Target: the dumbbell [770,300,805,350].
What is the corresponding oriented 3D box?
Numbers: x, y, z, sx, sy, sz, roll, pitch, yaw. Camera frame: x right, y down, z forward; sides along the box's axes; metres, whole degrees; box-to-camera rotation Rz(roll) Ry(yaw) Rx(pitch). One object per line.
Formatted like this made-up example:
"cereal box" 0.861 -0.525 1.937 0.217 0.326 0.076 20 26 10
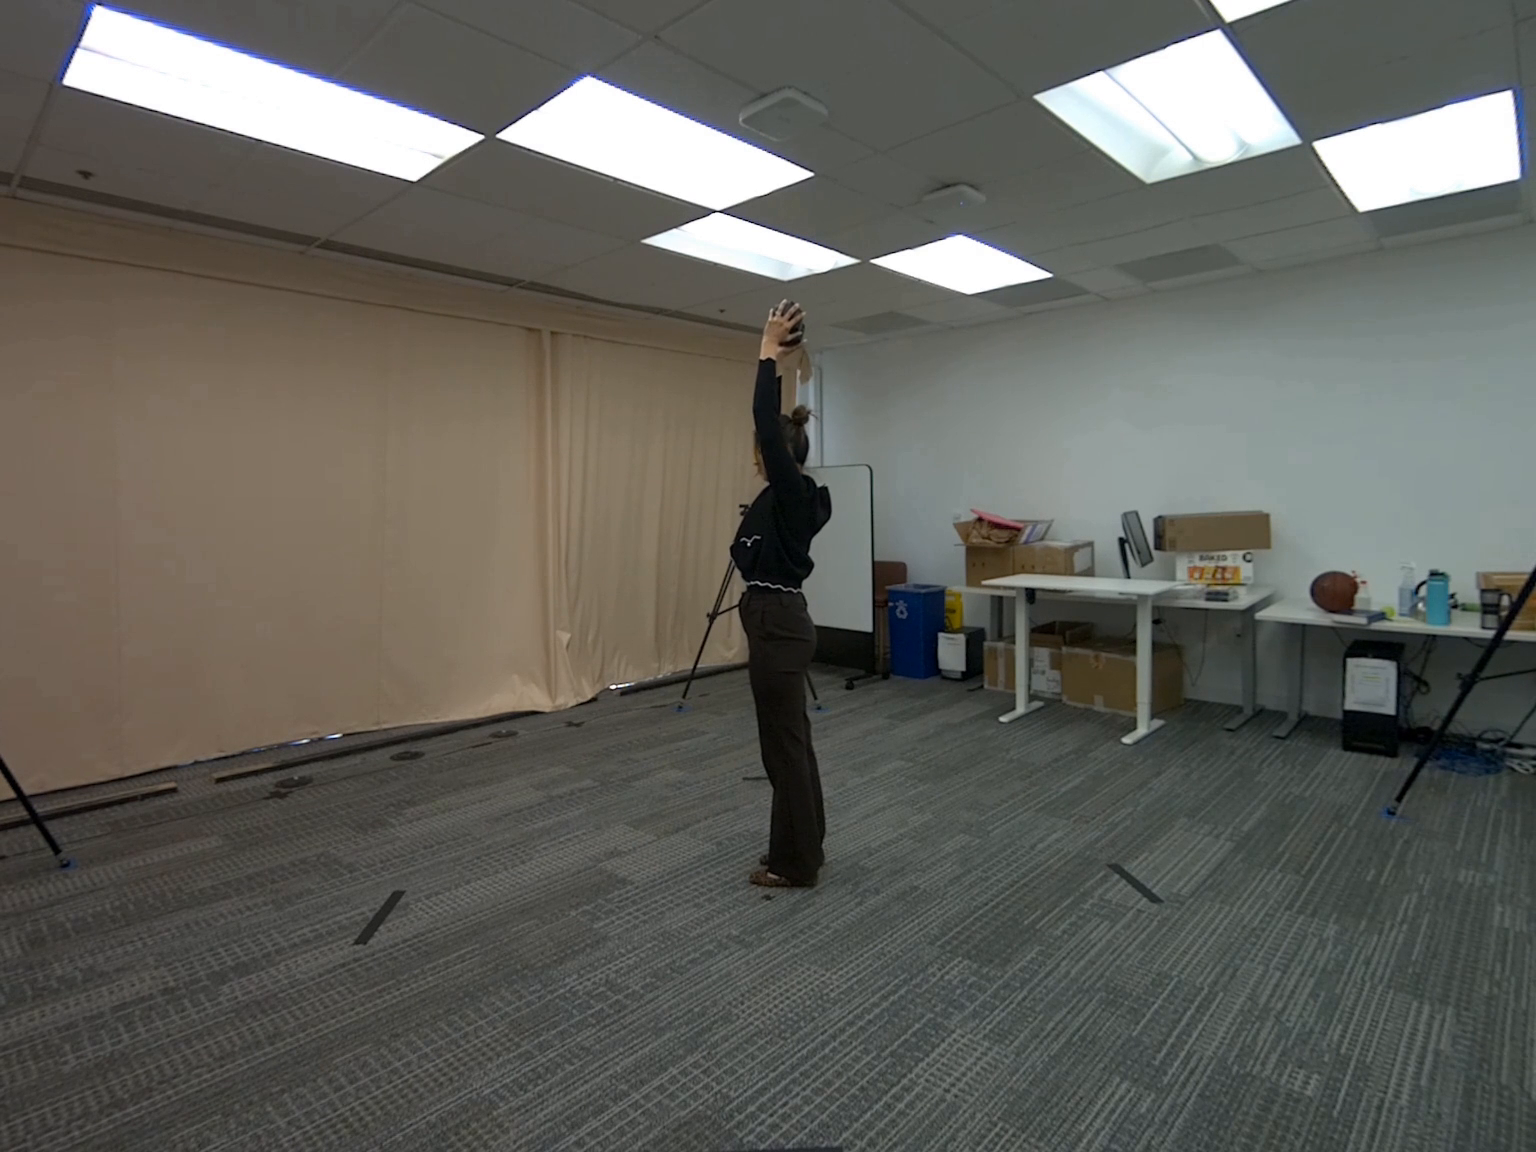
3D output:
"dumbbell" 0.064 -0.917 3.102 0.123 0.108 0.292 -16 2 4
